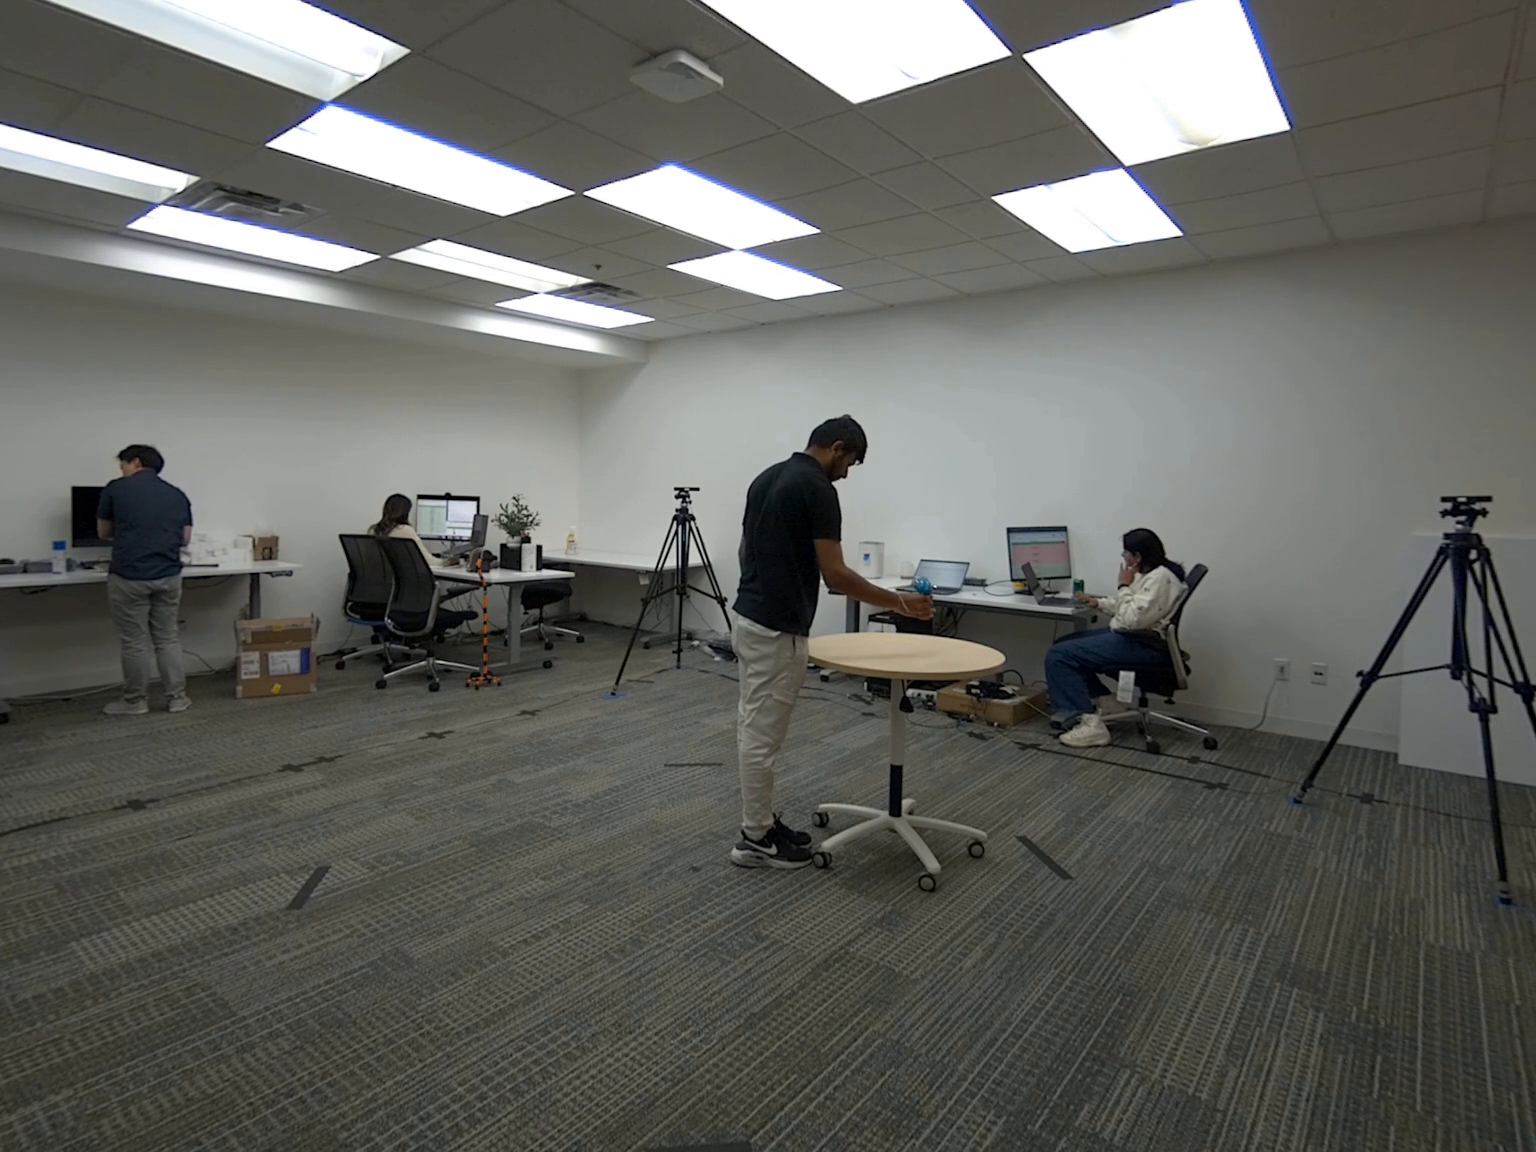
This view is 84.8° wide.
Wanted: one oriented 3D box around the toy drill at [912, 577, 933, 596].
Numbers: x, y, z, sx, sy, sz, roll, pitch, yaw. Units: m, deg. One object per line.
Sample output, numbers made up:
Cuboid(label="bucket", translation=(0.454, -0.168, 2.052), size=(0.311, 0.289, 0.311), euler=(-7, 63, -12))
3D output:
Cuboid(label="toy drill", translation=(0.567, 0.068, 3.158), size=(0.061, 0.144, 0.172), euler=(-4, 15, -2))
